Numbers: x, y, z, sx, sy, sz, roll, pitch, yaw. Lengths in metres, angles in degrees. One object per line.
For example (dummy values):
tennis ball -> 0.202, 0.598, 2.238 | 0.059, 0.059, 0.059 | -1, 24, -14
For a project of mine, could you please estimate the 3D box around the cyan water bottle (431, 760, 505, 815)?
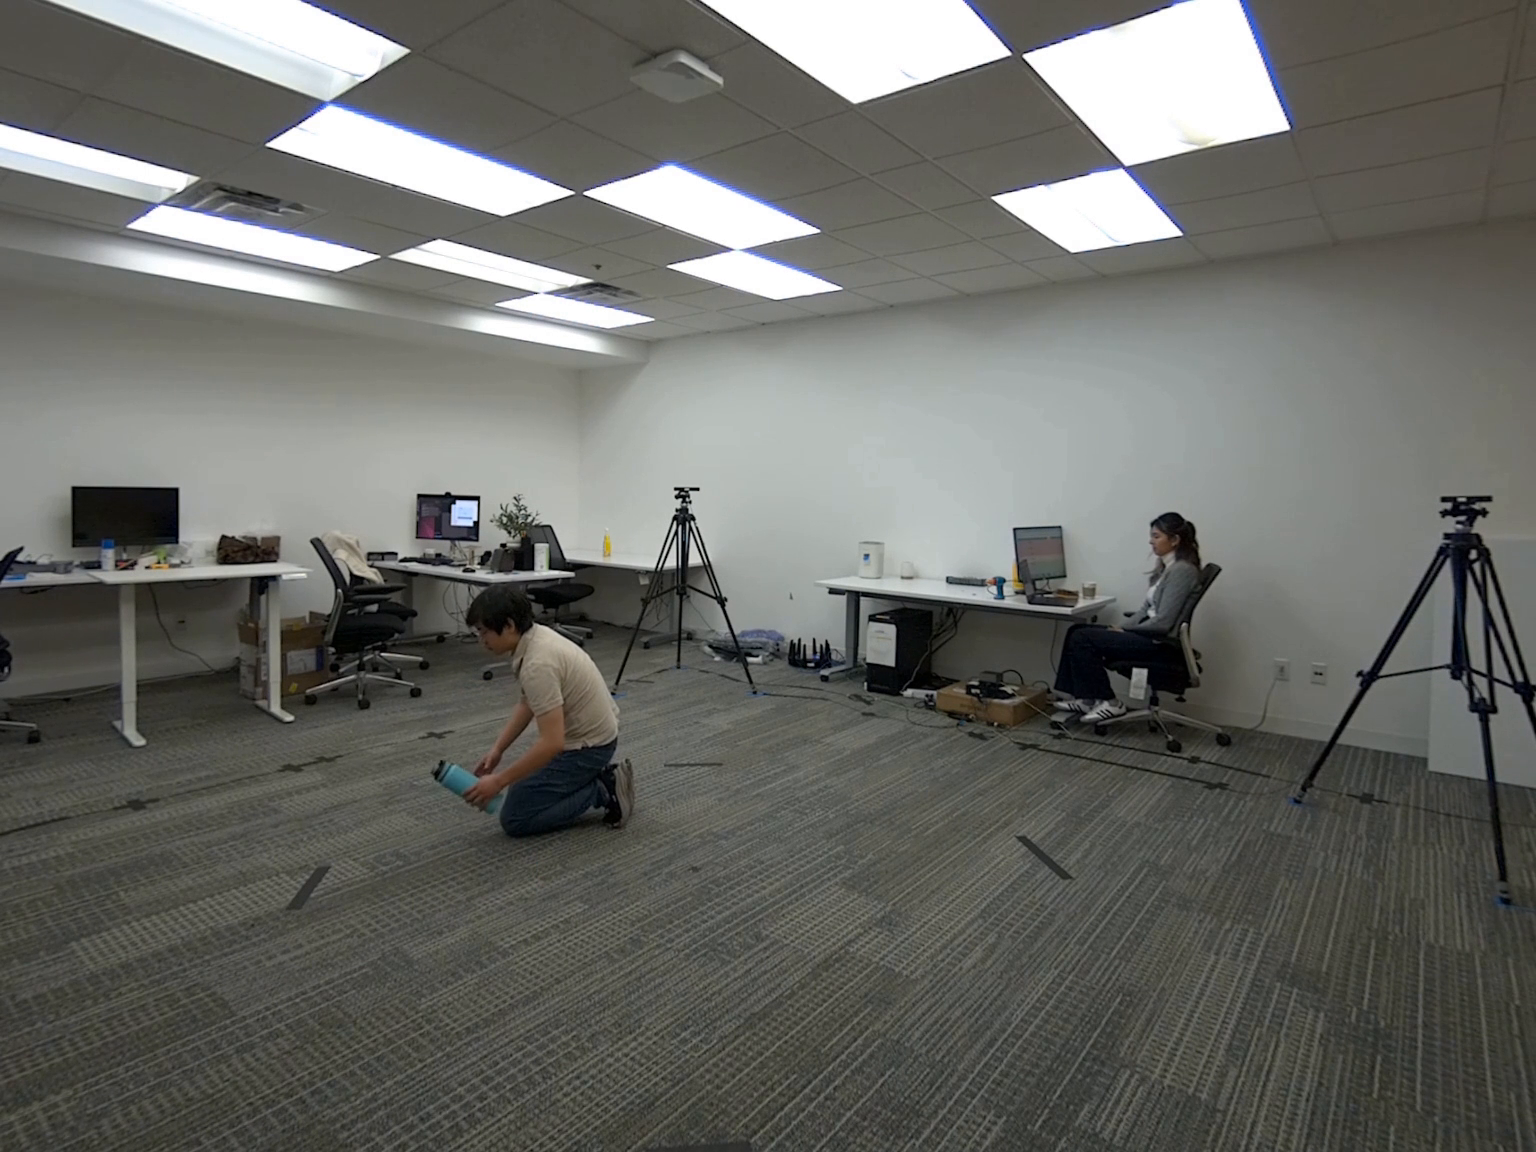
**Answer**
cyan water bottle -> -1.164, 0.801, 3.239 | 0.279, 0.092, 0.093 | 34, -3, -10
